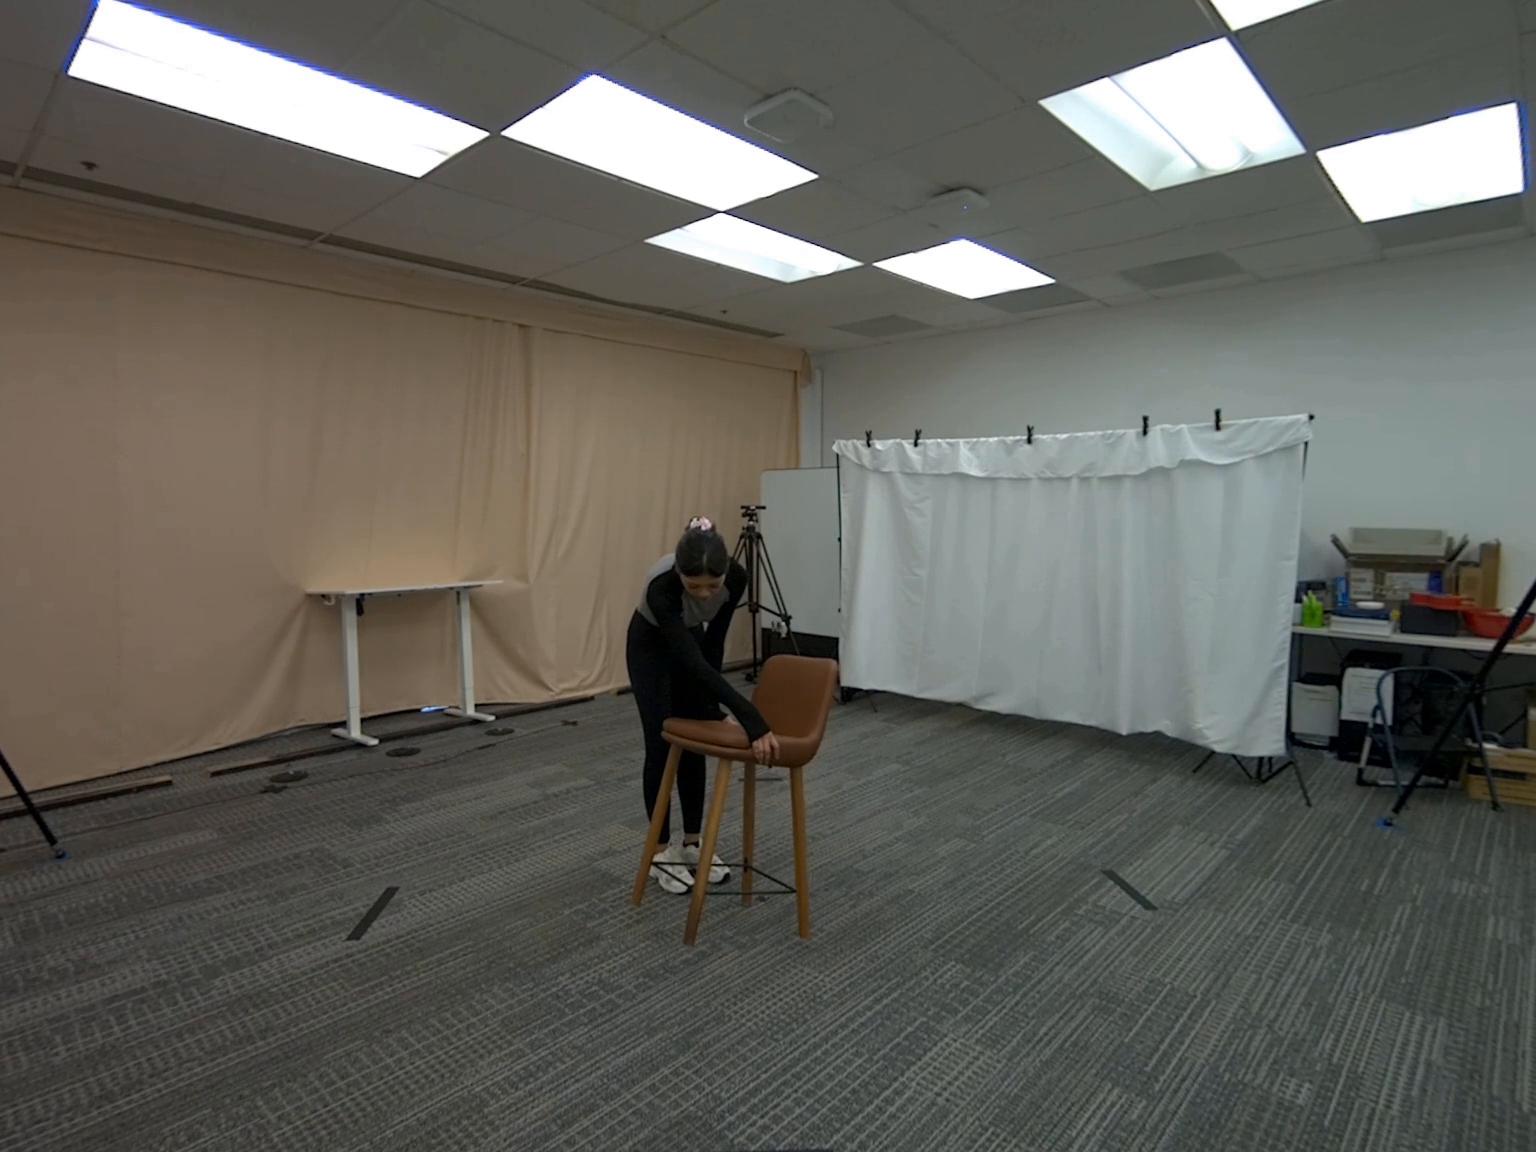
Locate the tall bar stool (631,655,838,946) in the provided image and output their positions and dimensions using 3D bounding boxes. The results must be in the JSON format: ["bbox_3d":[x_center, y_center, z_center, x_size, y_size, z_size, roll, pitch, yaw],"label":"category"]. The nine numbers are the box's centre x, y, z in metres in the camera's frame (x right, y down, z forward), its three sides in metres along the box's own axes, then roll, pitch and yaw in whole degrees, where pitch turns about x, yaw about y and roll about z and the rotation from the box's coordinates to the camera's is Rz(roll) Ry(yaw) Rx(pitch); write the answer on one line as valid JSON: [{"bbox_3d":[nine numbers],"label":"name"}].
[{"bbox_3d":[-0.095,0.682,2.746,0.453,0.893,0.469,12,-9,-31],"label":"tall bar stool"}]
